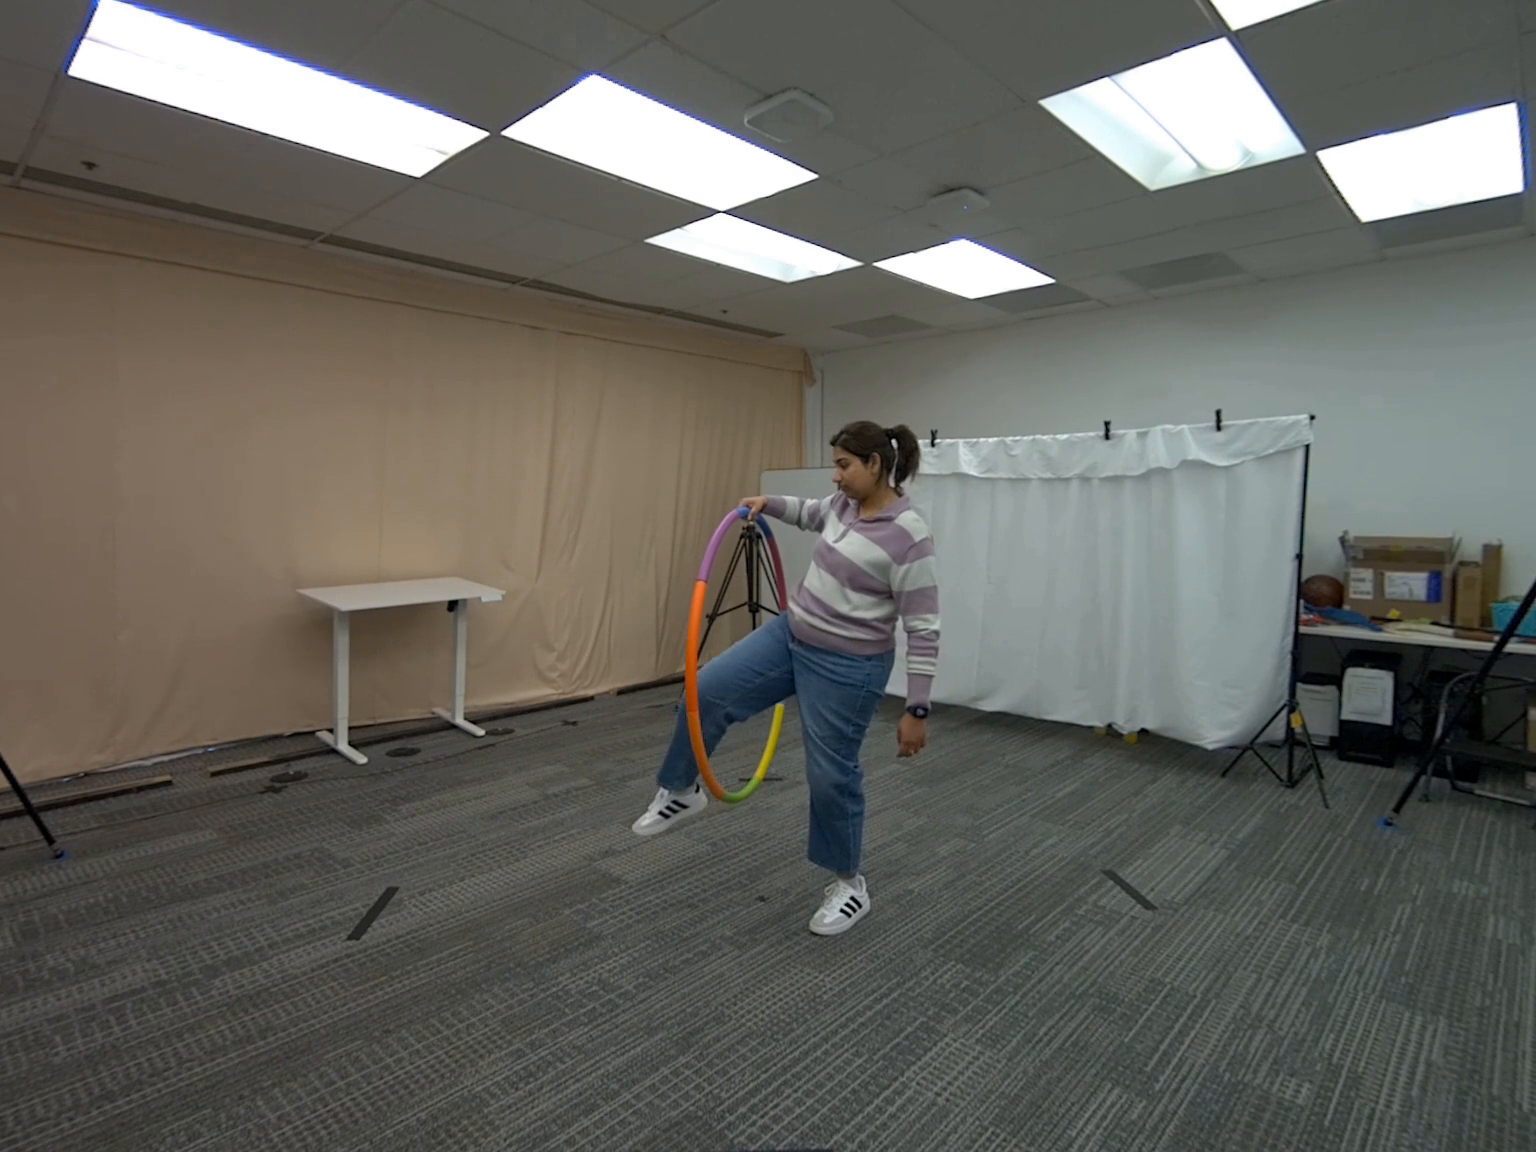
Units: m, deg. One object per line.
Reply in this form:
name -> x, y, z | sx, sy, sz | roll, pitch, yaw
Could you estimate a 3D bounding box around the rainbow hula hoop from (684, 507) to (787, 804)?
rainbow hula hoop -> -0.074, 0.262, 2.855 | 0.053, 0.983, 0.967 | 0, 3, 18
